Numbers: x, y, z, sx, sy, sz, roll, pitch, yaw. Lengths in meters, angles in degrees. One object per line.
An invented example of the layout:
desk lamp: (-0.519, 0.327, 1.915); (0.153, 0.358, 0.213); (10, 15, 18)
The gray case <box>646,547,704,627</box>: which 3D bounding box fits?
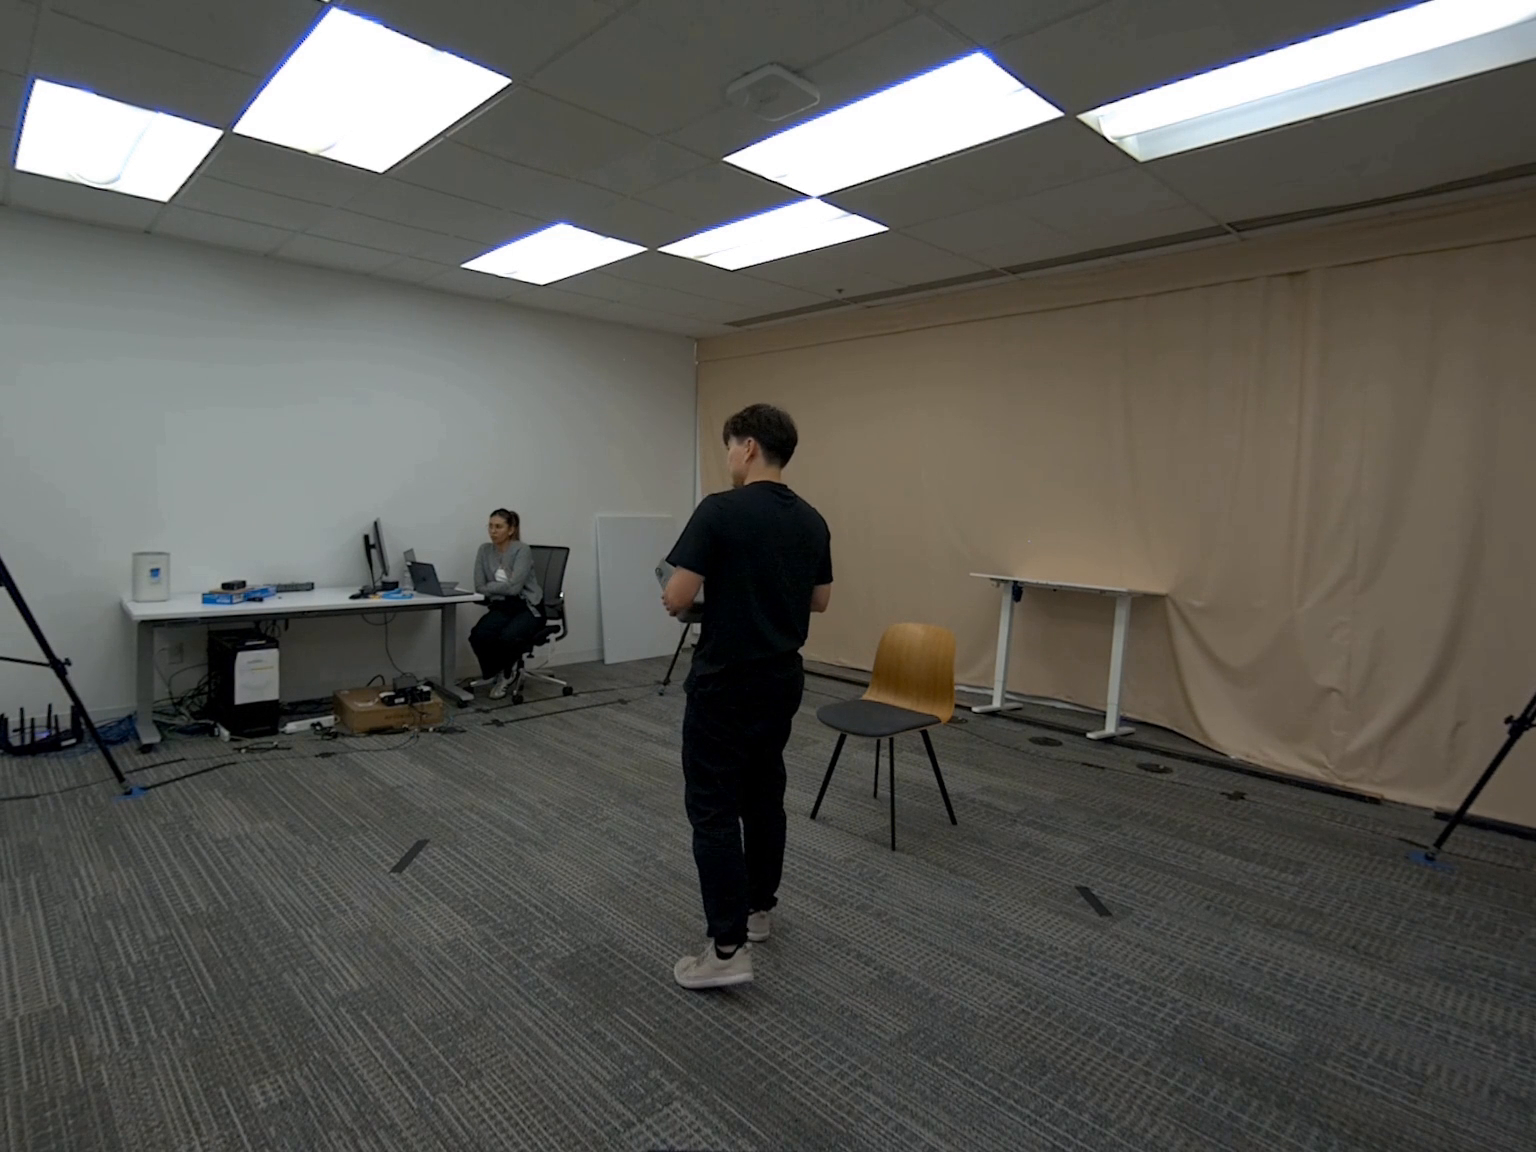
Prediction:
gray case: (-0.230, 0.039, 2.825); (0.250, 0.104, 0.269); (5, 38, -38)
